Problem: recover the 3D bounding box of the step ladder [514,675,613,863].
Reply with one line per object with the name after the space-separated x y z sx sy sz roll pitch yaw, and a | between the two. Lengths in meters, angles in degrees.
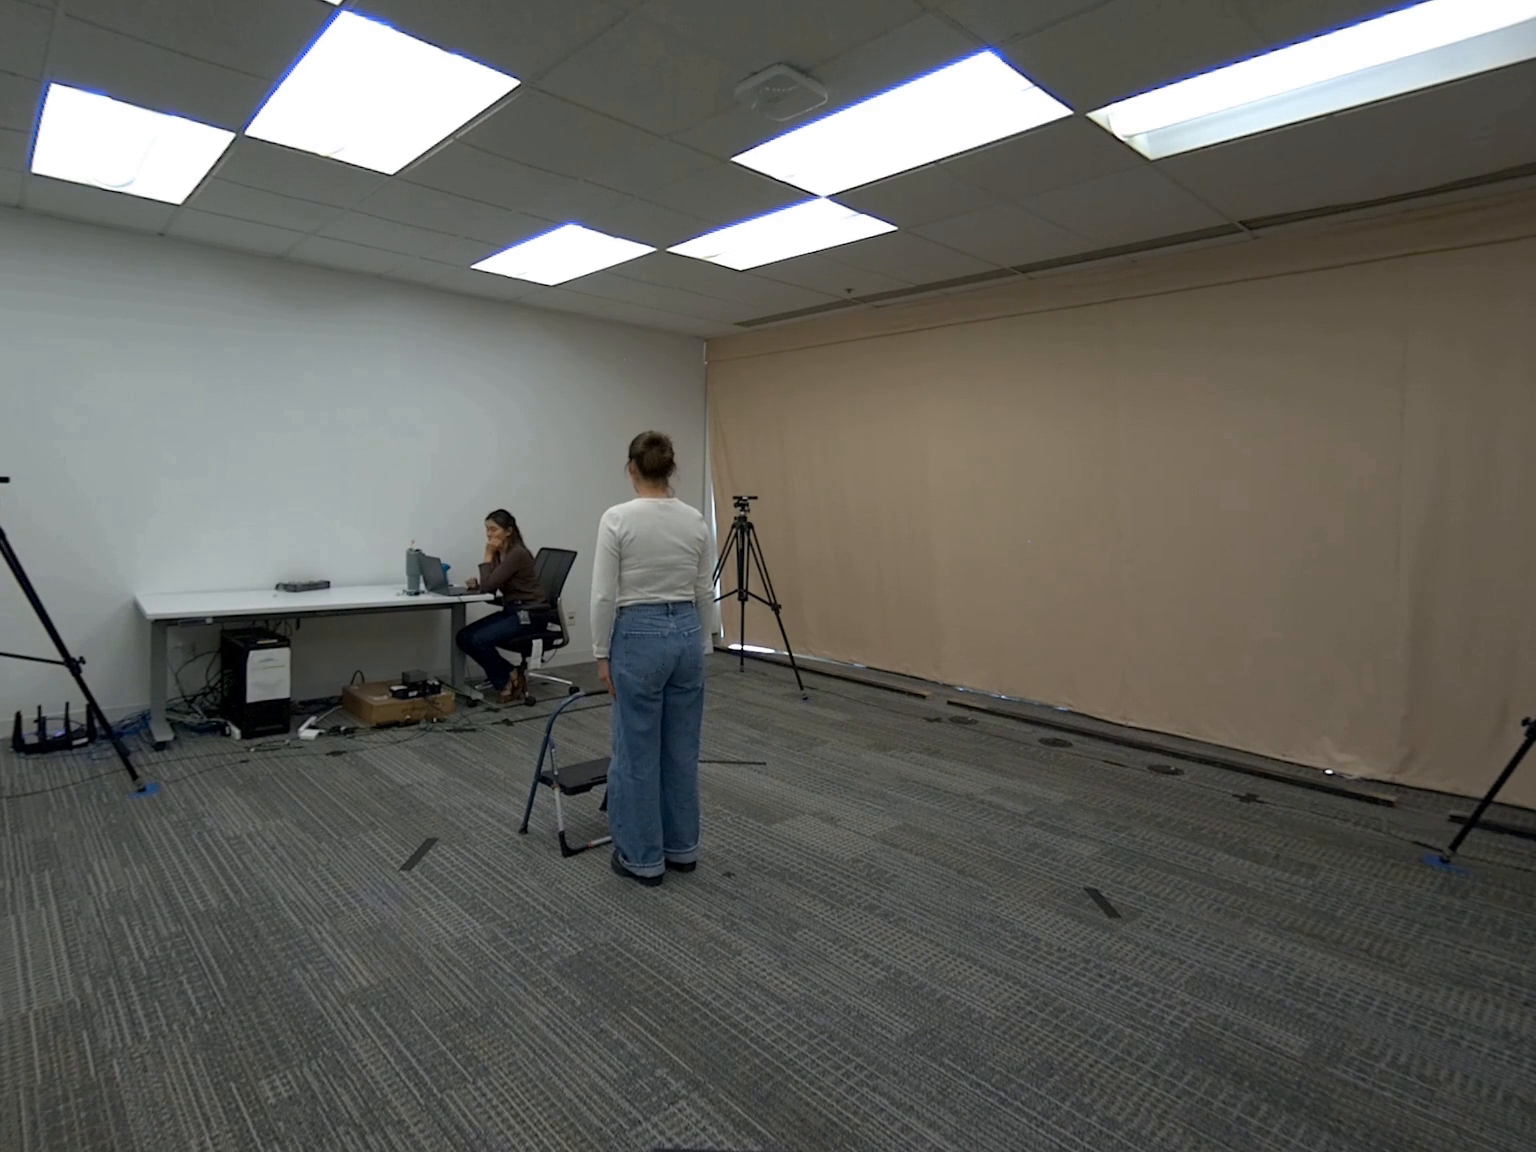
-0.753 0.756 3.460 0.358 0.604 0.421 5 5 45 | step ladder
